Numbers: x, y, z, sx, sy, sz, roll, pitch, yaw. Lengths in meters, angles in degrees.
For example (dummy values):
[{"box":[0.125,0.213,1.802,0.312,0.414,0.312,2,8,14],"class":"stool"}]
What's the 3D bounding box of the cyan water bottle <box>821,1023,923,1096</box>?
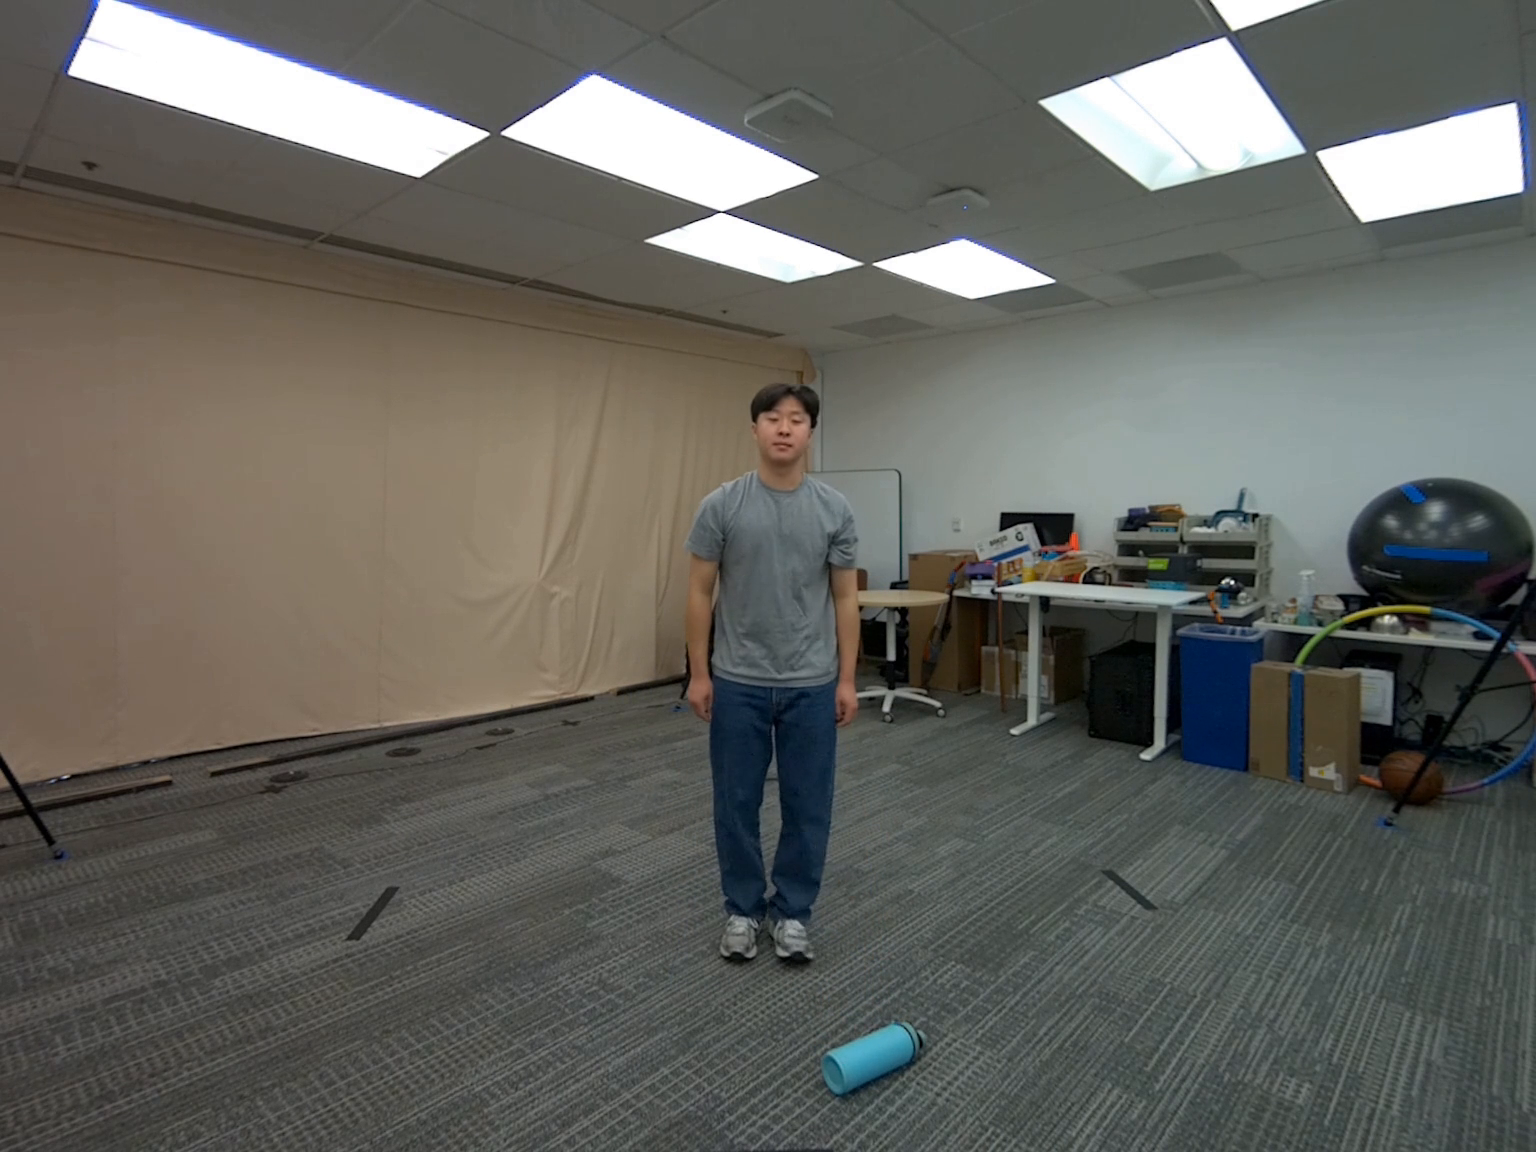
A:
[{"box":[0.275,1.174,2.064,0.275,0.092,0.095,-3,5,-34],"class":"cyan water bottle"}]
